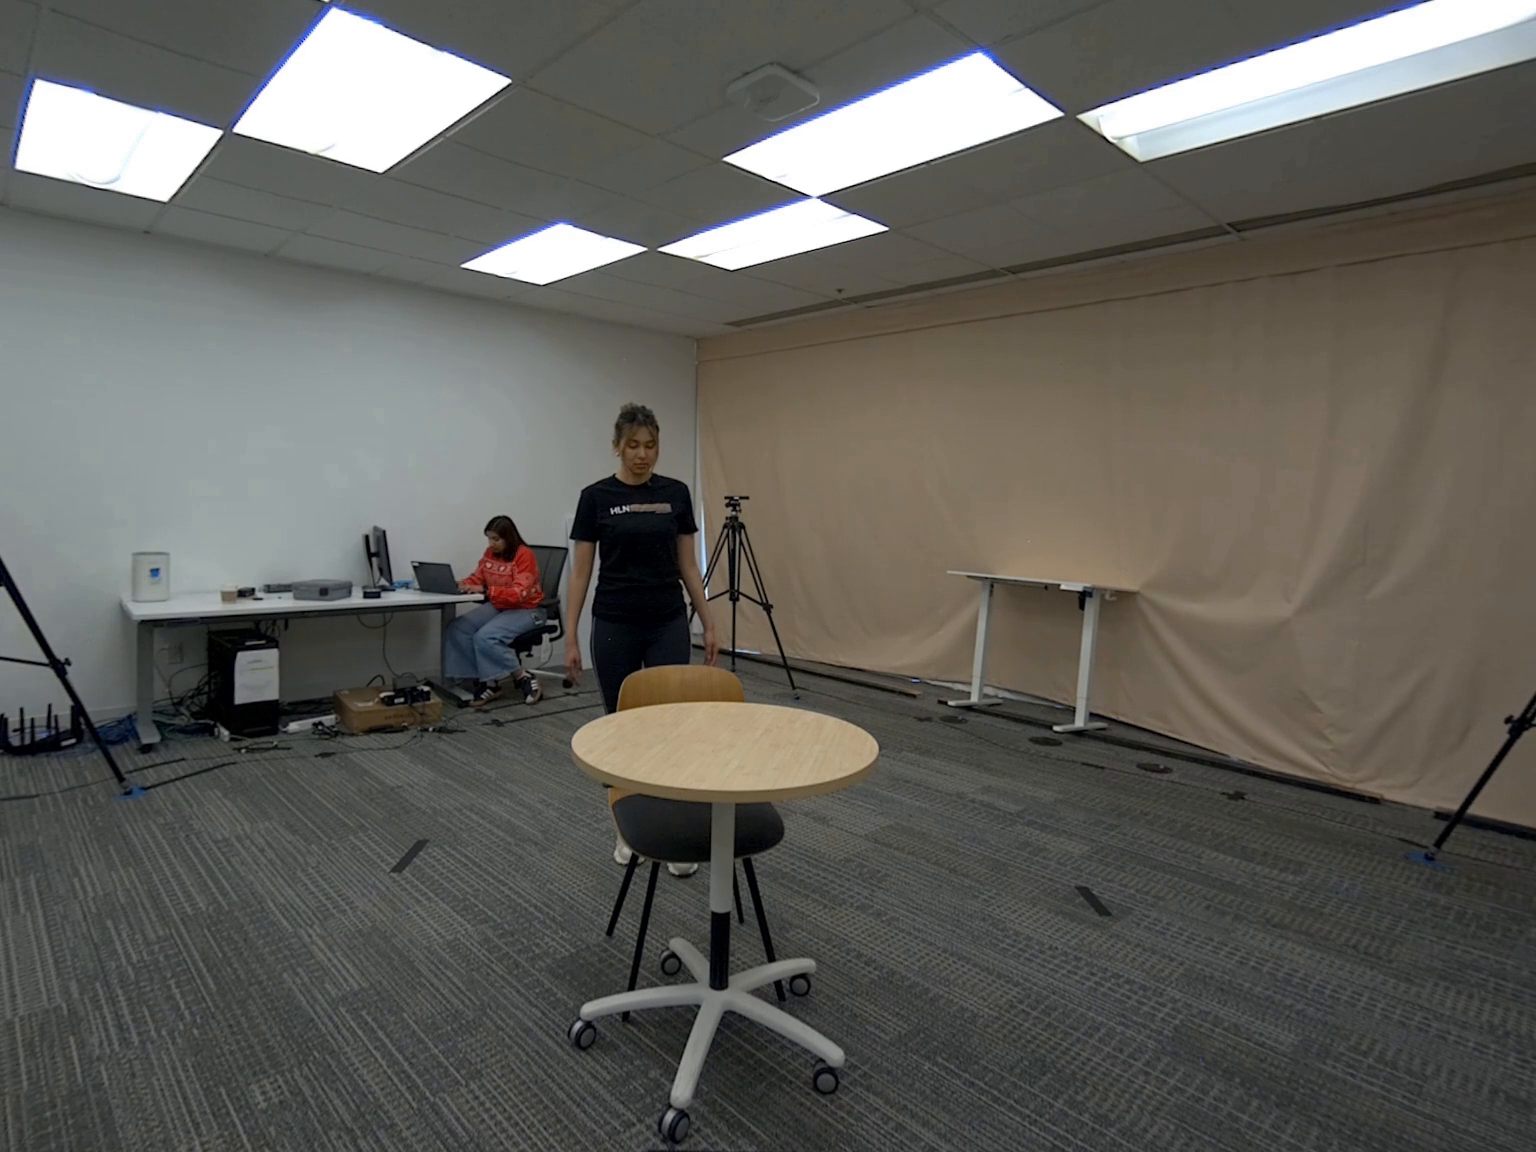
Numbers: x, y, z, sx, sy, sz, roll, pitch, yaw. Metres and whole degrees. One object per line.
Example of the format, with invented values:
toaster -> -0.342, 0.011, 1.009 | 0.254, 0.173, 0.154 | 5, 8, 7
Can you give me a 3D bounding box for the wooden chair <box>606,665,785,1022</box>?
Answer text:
wooden chair -> -0.220, 0.733, 2.456 | 0.472, 0.877, 0.529 | 1, 0, -16
